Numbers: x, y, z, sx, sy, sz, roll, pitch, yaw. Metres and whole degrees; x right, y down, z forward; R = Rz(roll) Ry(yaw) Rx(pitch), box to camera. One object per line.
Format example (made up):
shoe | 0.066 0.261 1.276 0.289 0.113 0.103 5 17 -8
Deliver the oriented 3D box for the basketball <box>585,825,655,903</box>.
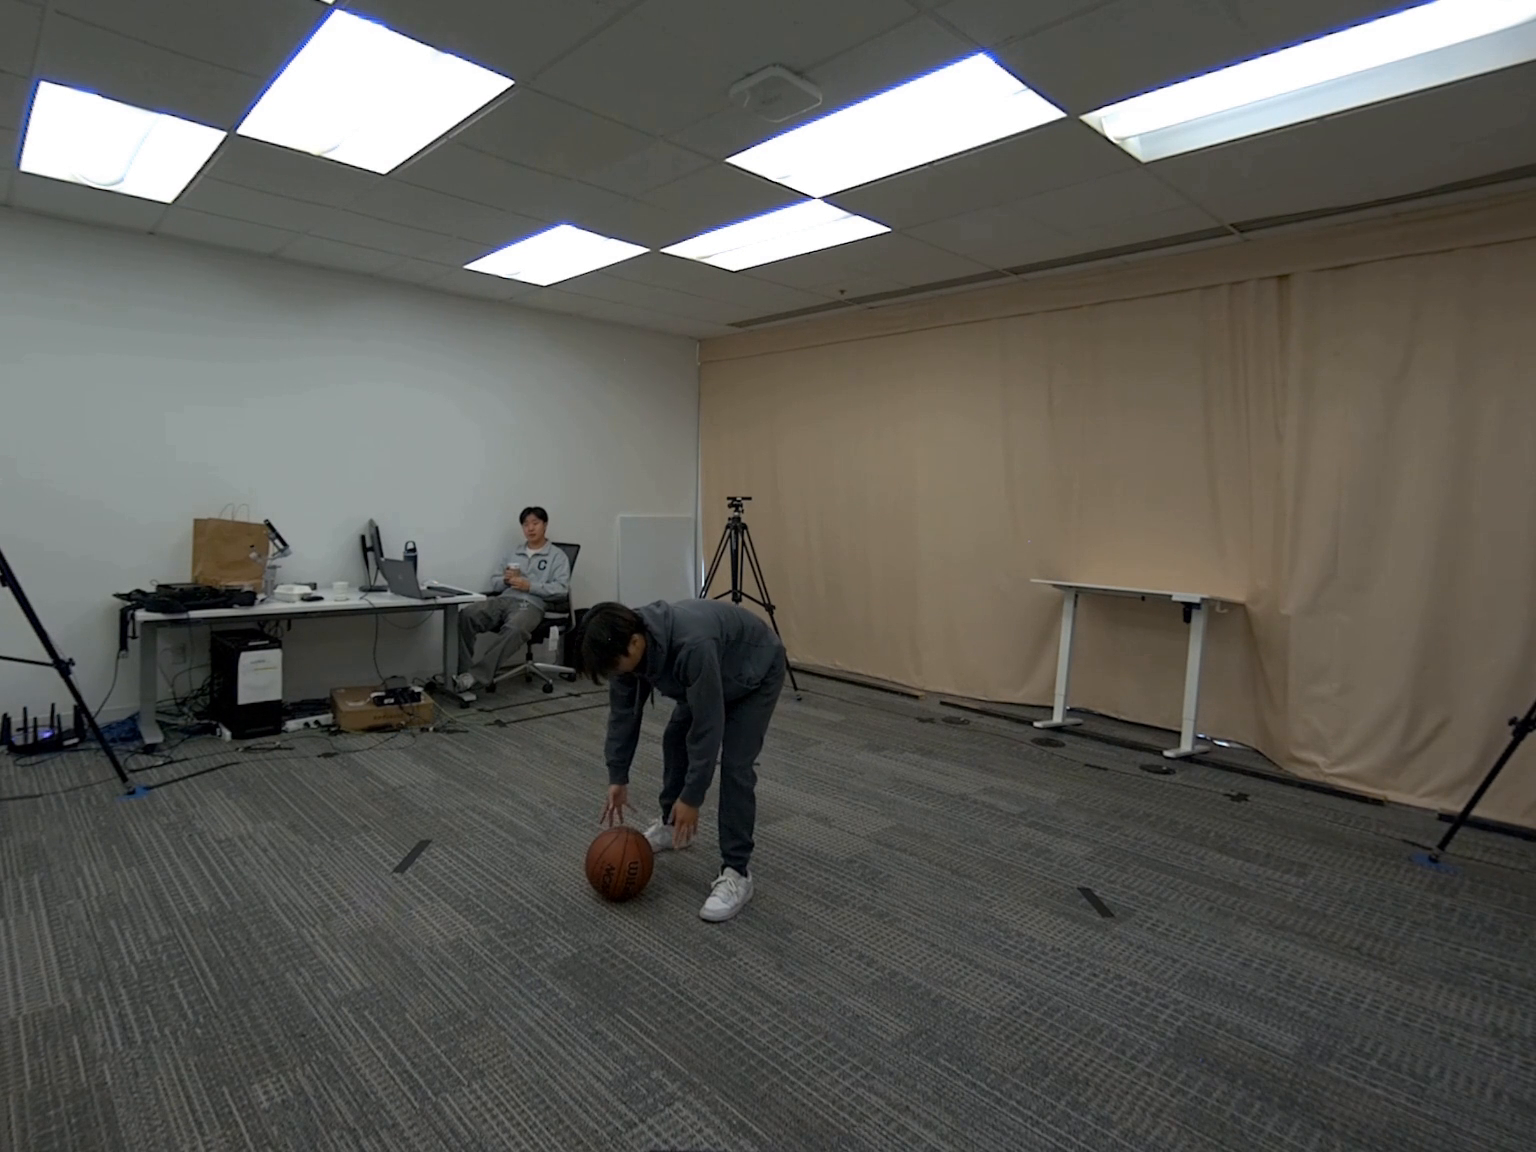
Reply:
basketball | -0.522 0.992 2.920 0.236 0.235 0.237 1 4 -1
